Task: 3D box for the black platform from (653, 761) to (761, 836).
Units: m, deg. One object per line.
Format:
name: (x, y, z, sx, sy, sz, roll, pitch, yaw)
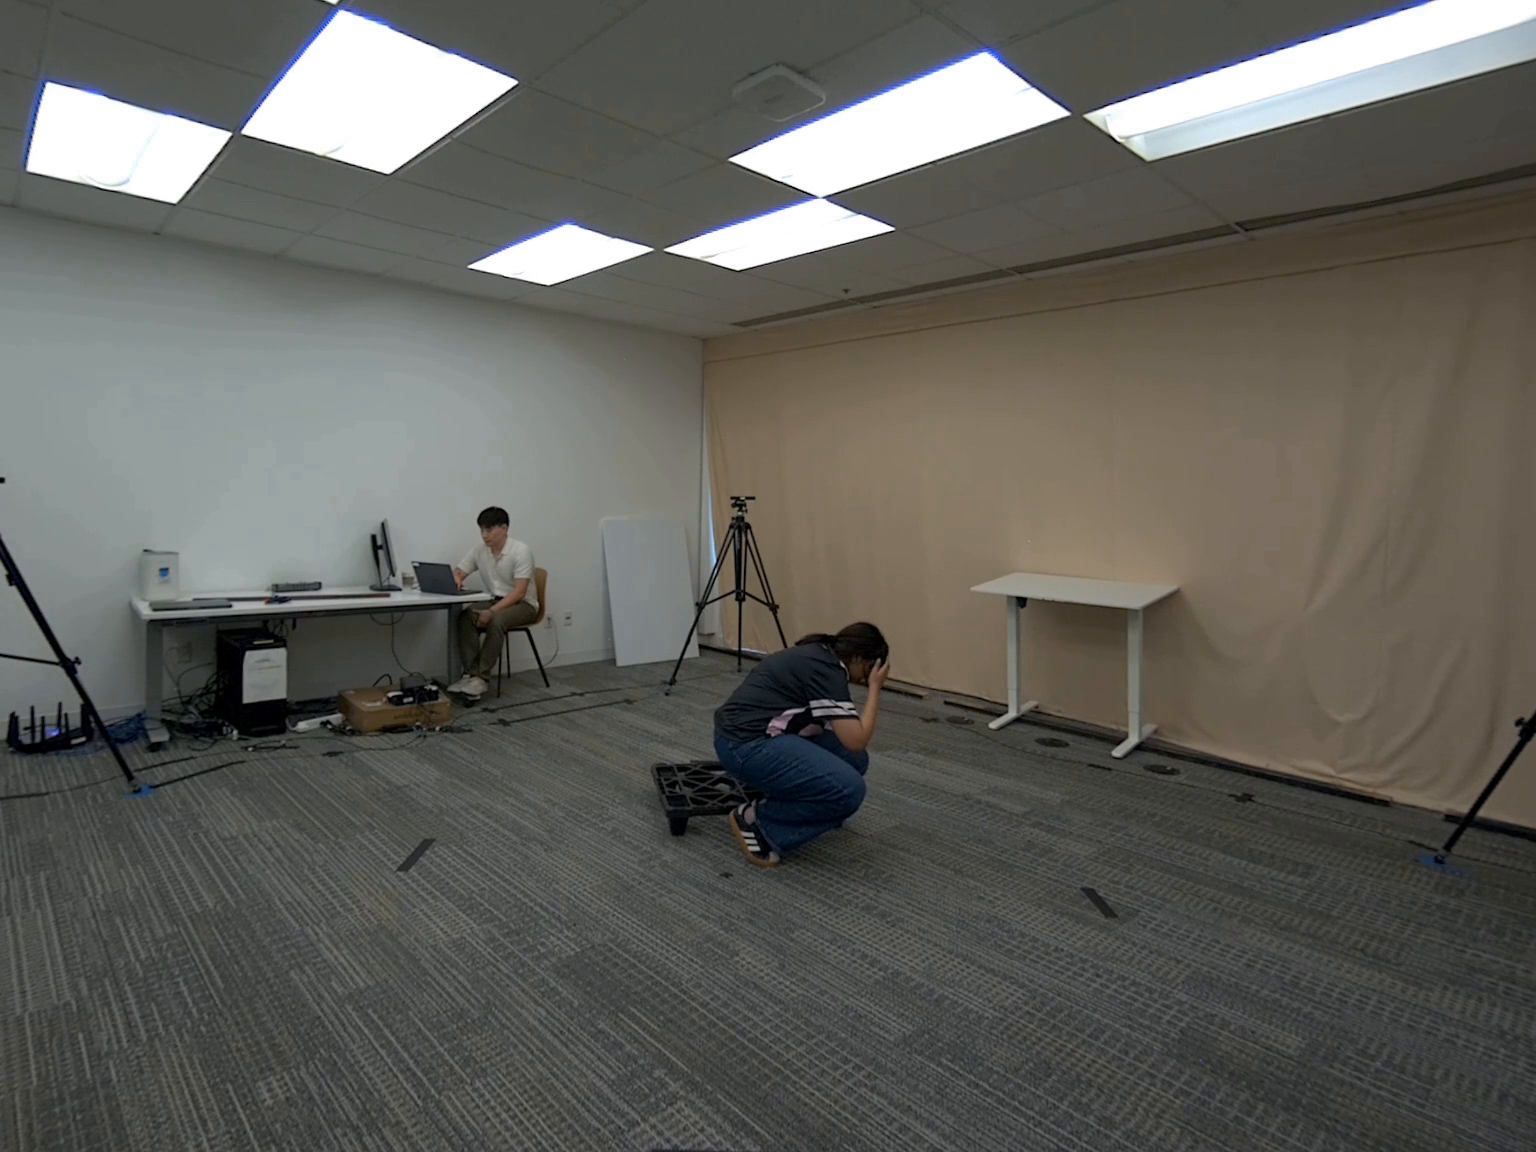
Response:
black platform: (-0.098, 0.982, 3.754, 0.798, 0.143, 0.613, 0, 5, -12)
